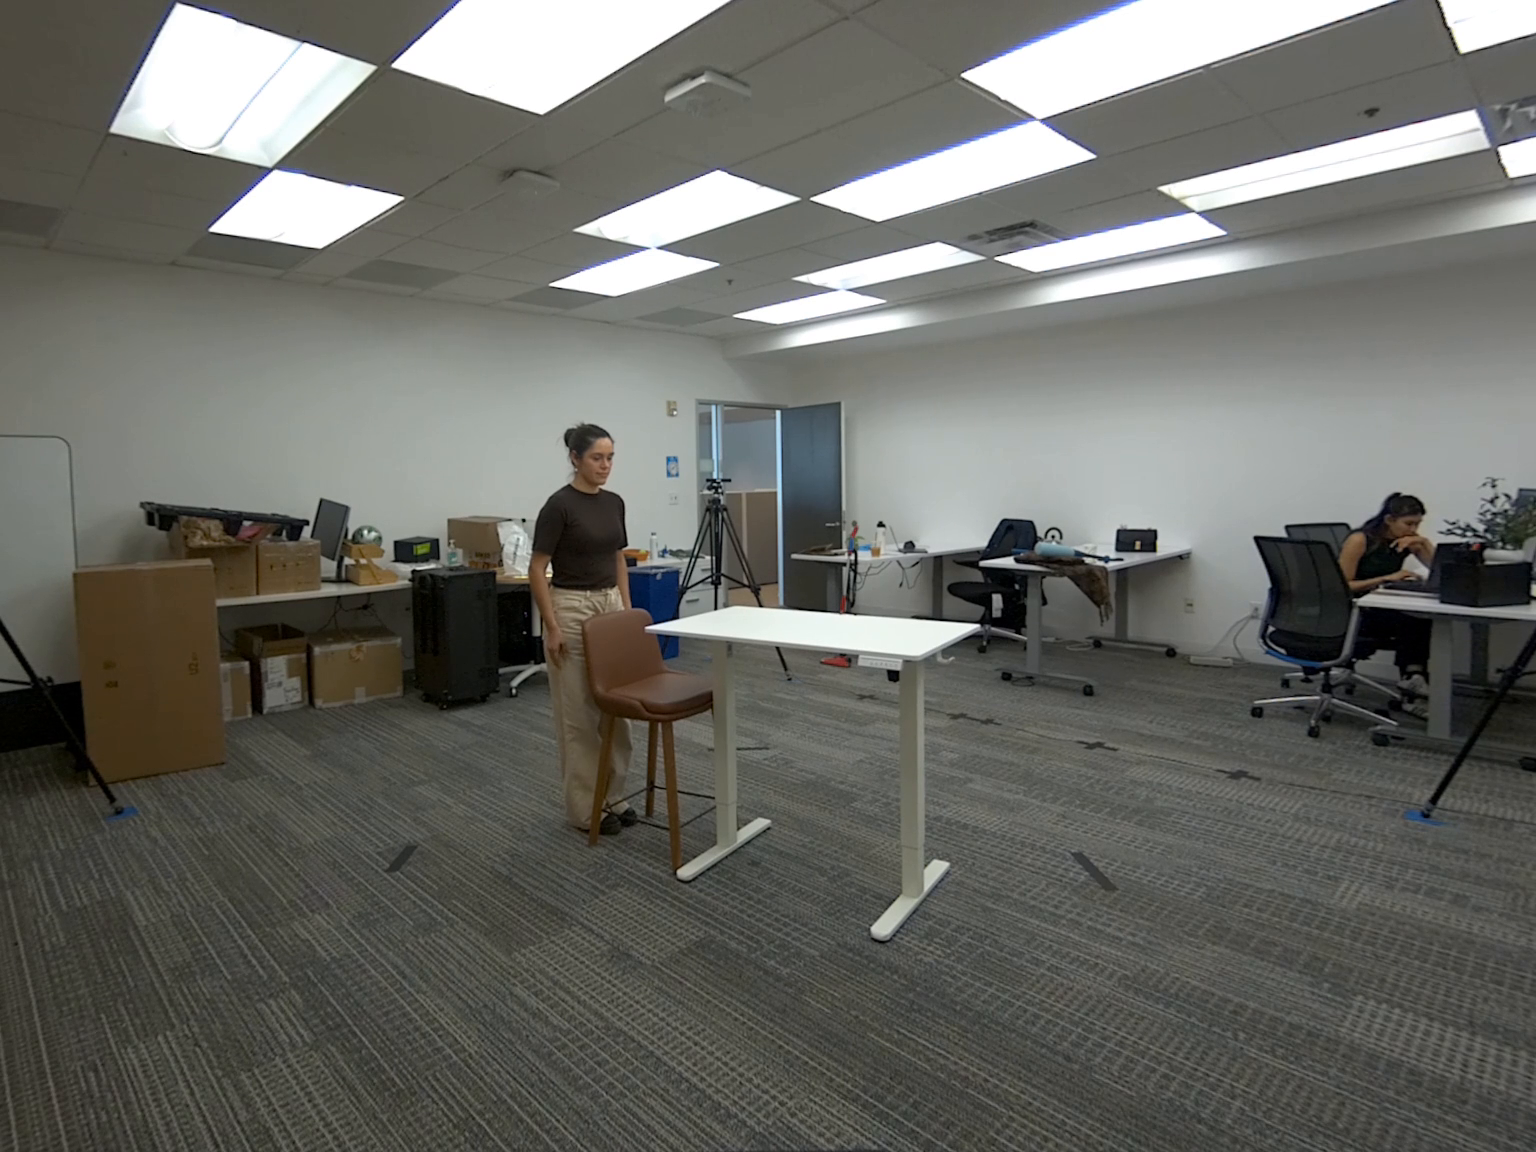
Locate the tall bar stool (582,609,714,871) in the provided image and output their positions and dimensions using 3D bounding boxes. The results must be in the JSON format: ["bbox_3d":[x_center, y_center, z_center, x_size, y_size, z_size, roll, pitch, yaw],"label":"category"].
[{"bbox_3d":[-0.421,0.590,3.284,0.480,0.888,0.445,-2,2,34],"label":"tall bar stool"}]
